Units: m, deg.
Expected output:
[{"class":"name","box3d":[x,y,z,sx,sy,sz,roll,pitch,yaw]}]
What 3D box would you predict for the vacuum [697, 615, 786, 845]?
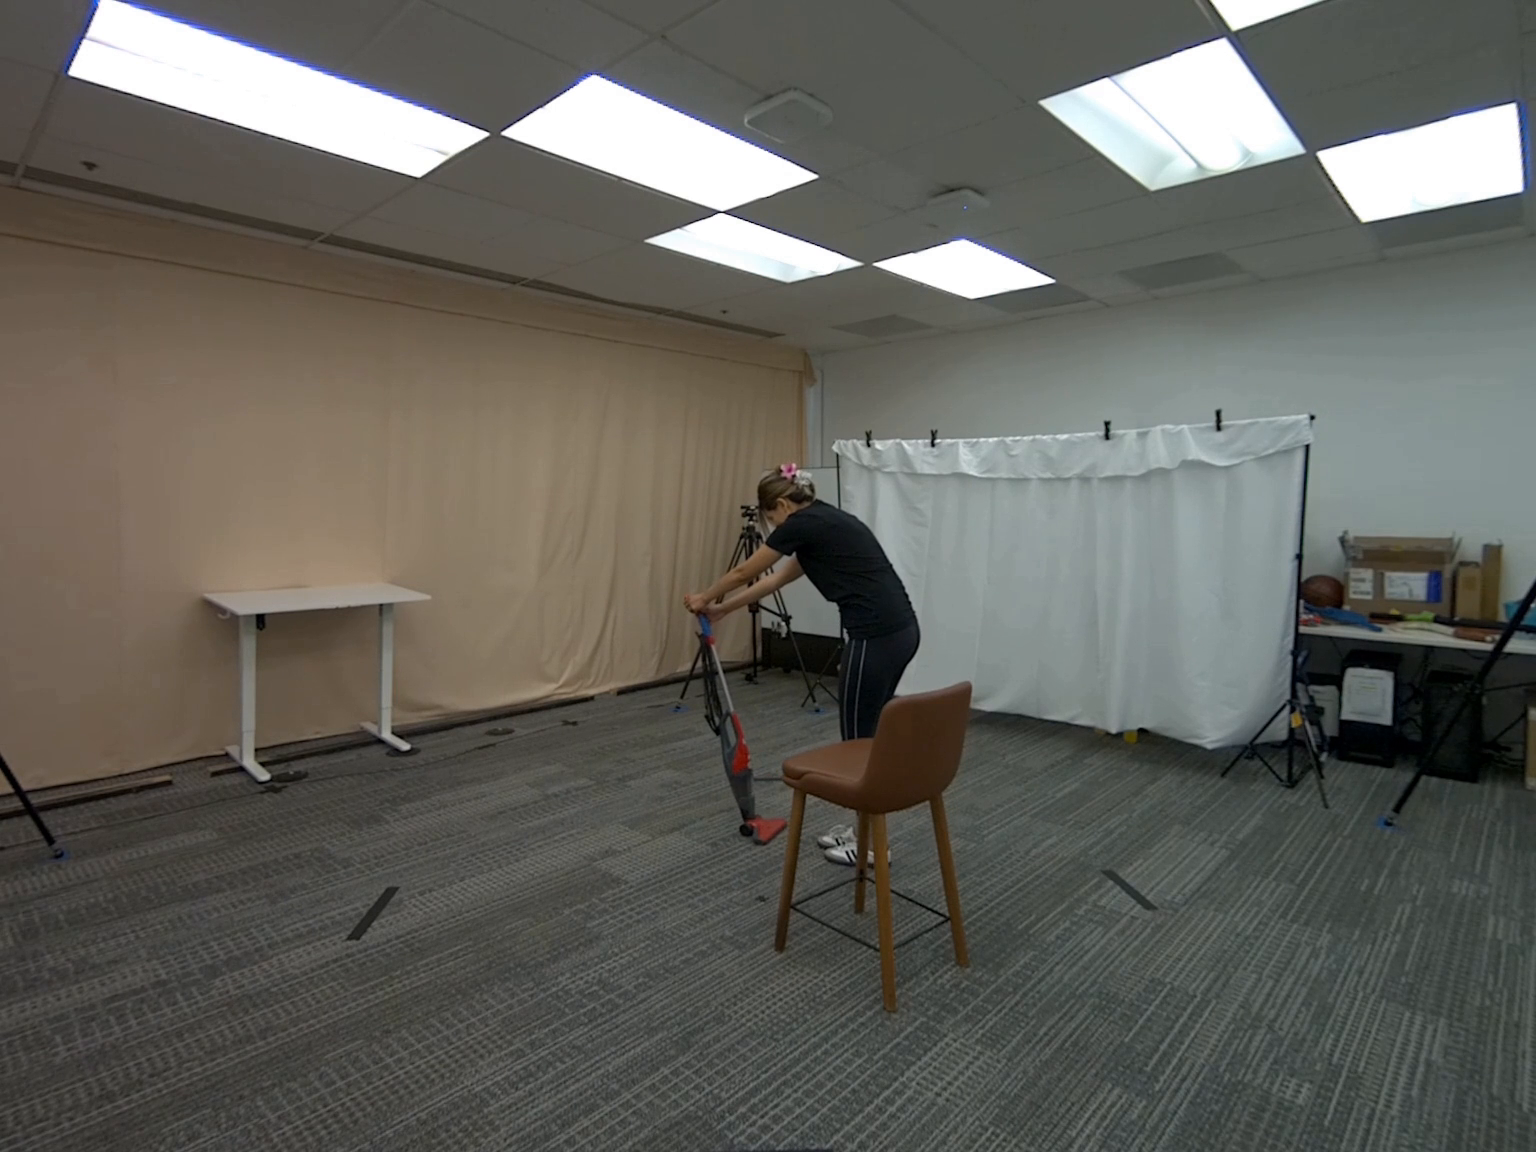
[{"class":"vacuum","box3d":[-0.186,0.597,3.643,0.147,1.056,0.246,-23,-8,30]}]
